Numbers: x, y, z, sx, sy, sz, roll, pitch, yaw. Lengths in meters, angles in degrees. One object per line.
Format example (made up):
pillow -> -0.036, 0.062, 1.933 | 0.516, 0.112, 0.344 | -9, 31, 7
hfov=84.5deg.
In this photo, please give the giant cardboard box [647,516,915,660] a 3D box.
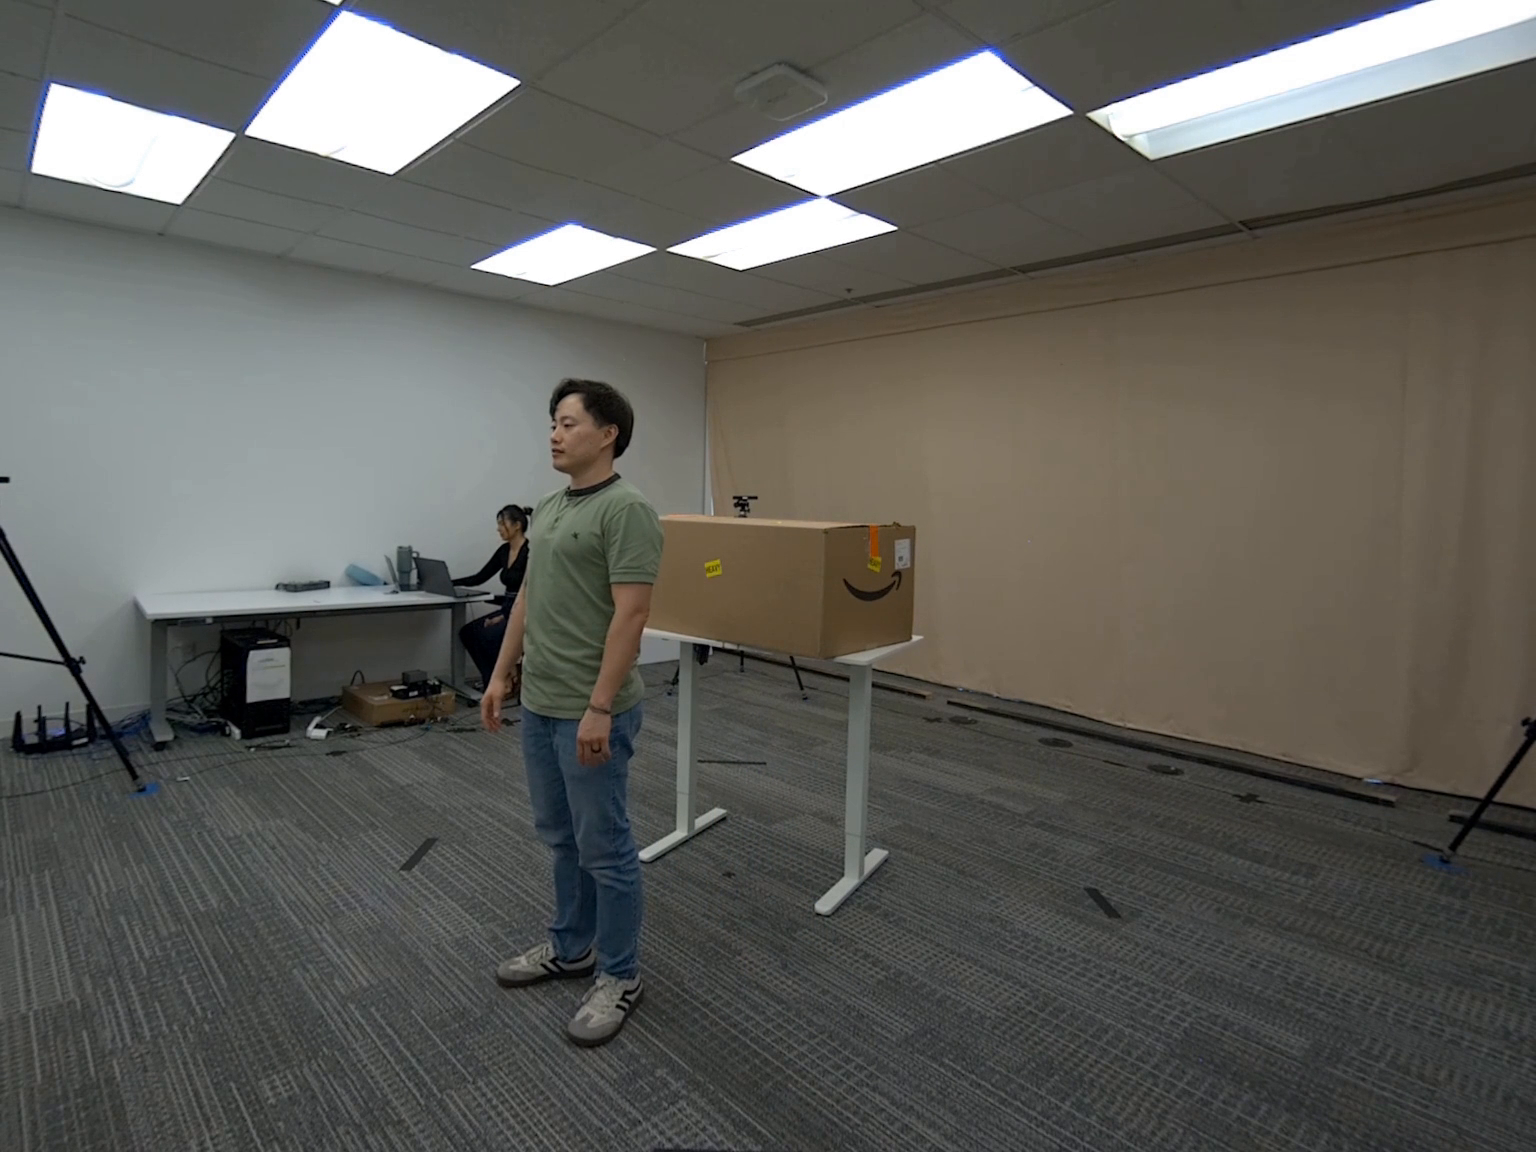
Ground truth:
giant cardboard box -> -0.038, 0.002, 3.214 | 1.052, 0.425, 0.565 | 6, 7, 41
